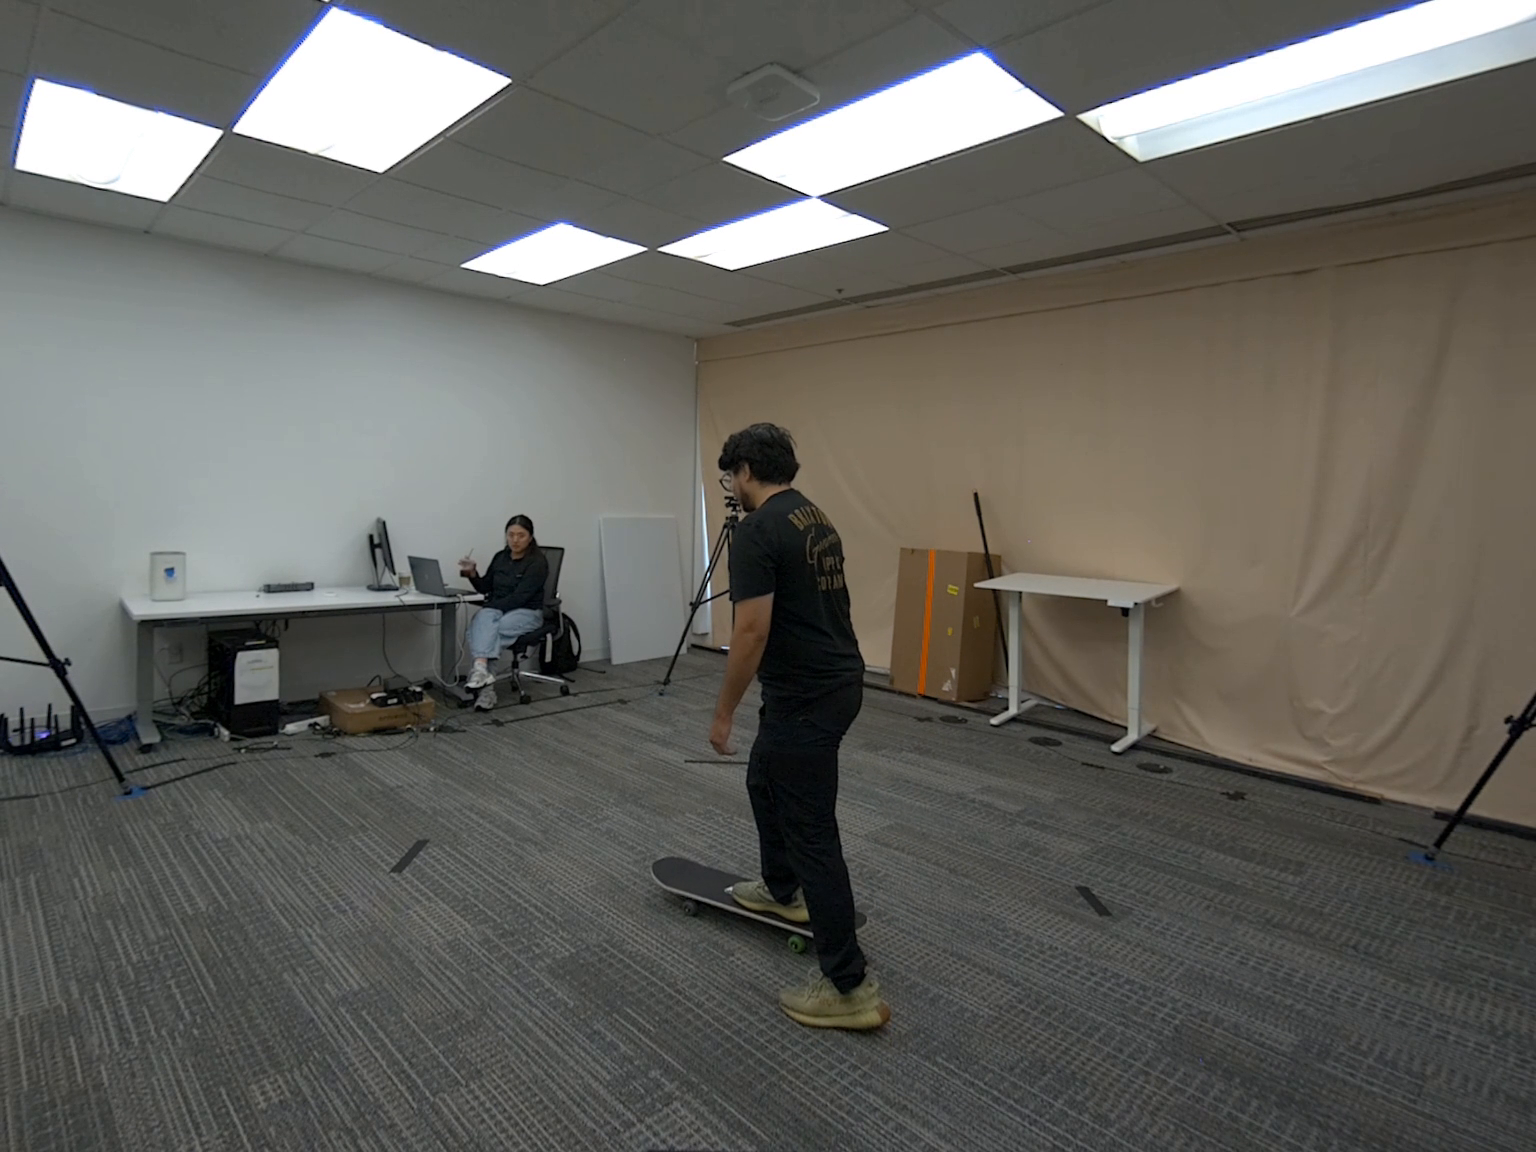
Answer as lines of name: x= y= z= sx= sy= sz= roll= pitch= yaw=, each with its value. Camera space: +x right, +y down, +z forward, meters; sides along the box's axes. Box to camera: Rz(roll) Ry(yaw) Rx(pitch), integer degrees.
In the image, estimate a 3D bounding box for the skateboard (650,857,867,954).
skateboard: x=-0.057 y=1.087 z=2.756 sx=0.803 sy=0.110 sz=0.190 roll=4 pitch=8 yaw=31
